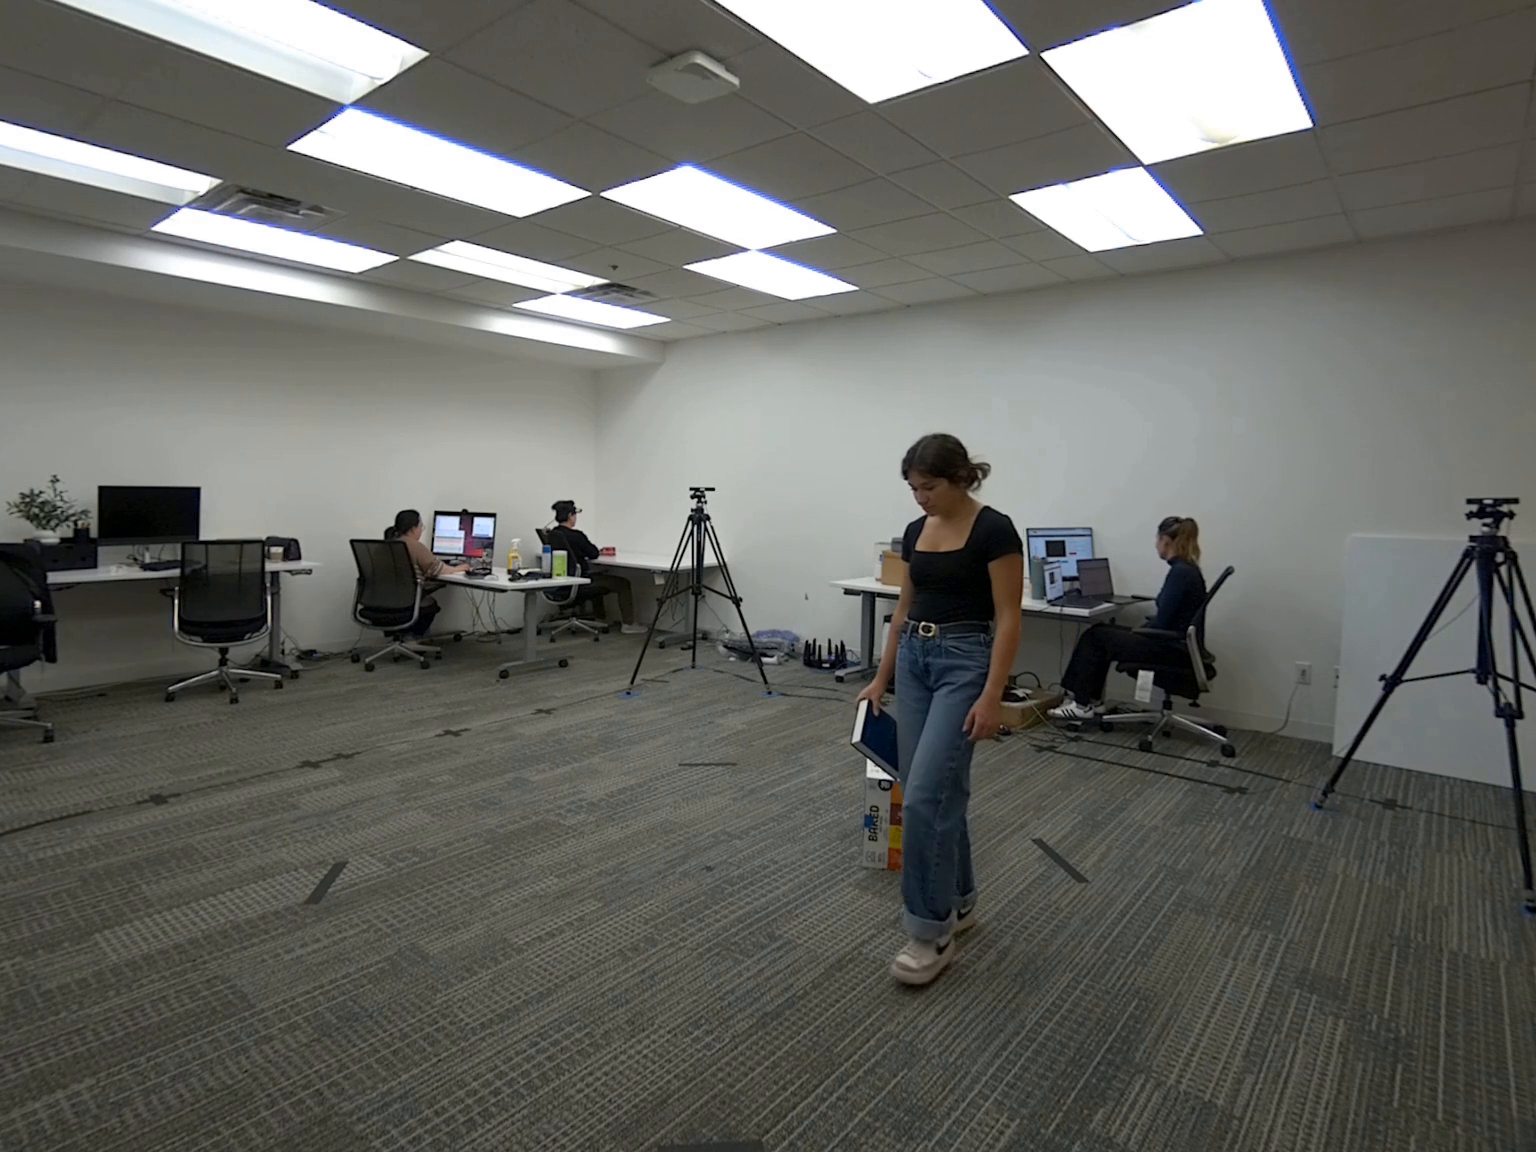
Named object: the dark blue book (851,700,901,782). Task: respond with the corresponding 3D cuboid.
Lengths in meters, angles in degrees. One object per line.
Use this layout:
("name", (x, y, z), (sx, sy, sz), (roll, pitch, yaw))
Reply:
("dark blue book", (0.372, 0.532, 2.766), (0.238, 0.166, 0.046), (41, -42, -24))
